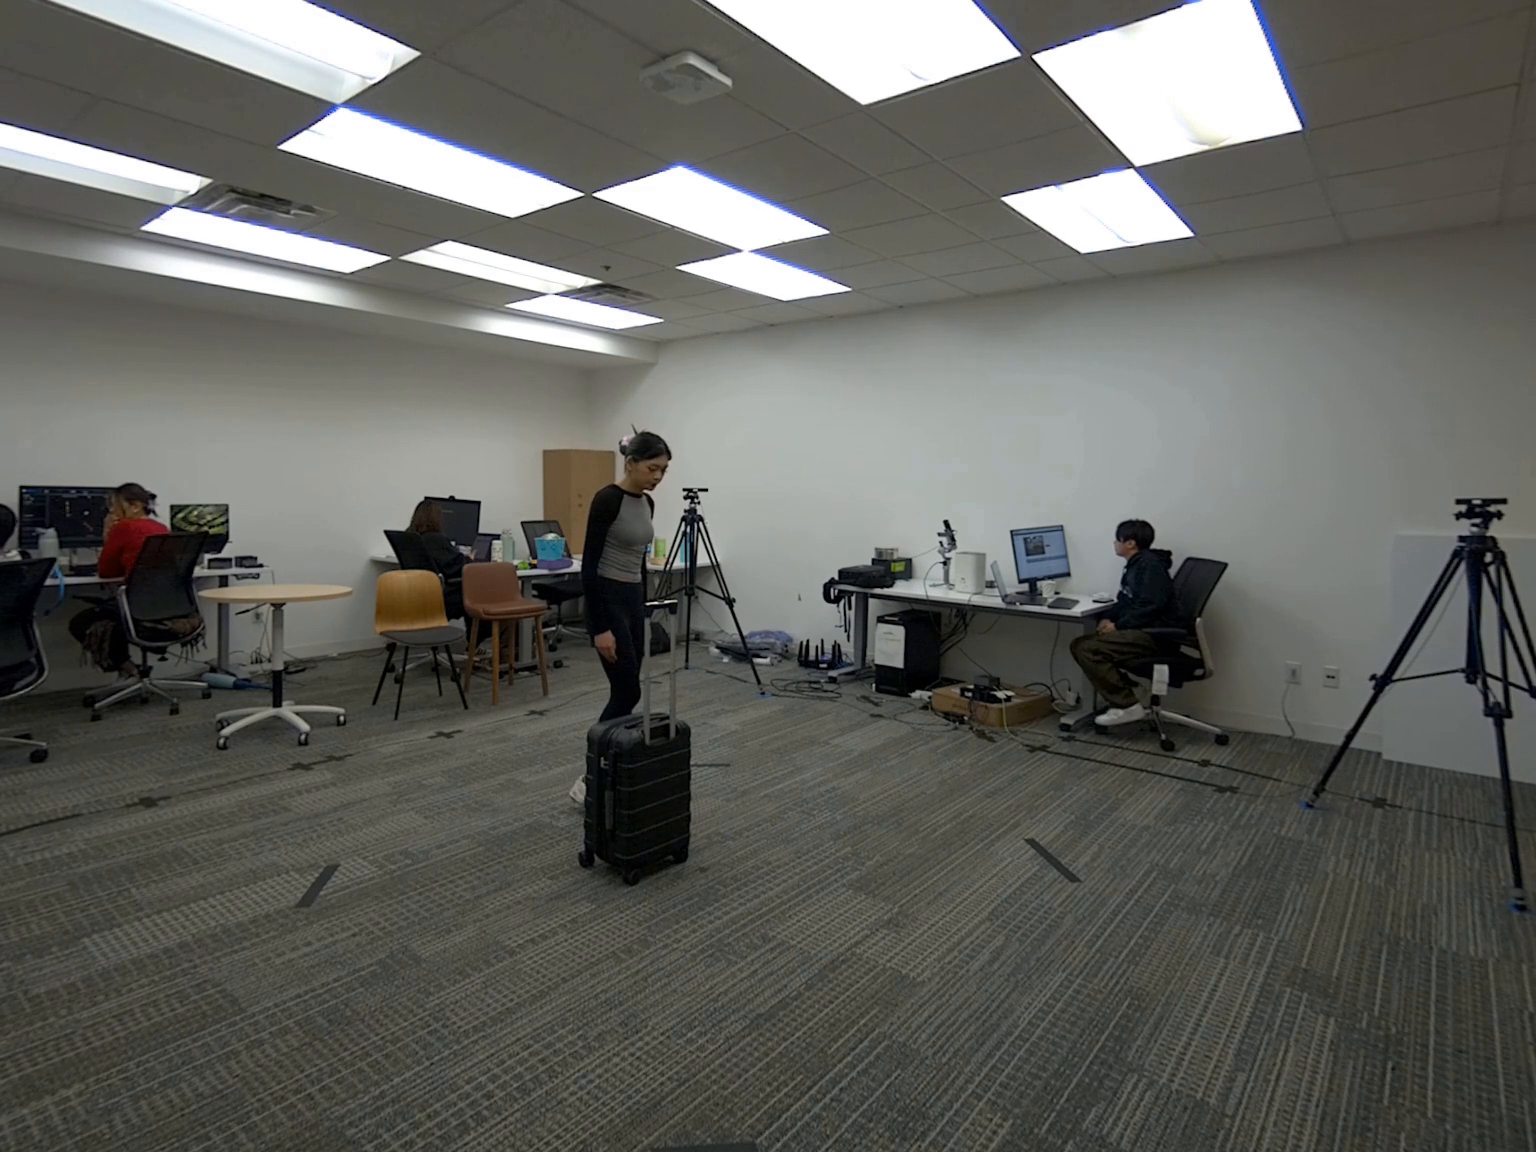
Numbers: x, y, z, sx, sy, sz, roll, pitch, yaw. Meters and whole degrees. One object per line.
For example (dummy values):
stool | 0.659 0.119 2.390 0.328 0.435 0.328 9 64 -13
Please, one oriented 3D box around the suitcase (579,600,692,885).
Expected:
suitcase | -0.490 0.583 3.131 0.265 0.977 0.372 1 2 41
